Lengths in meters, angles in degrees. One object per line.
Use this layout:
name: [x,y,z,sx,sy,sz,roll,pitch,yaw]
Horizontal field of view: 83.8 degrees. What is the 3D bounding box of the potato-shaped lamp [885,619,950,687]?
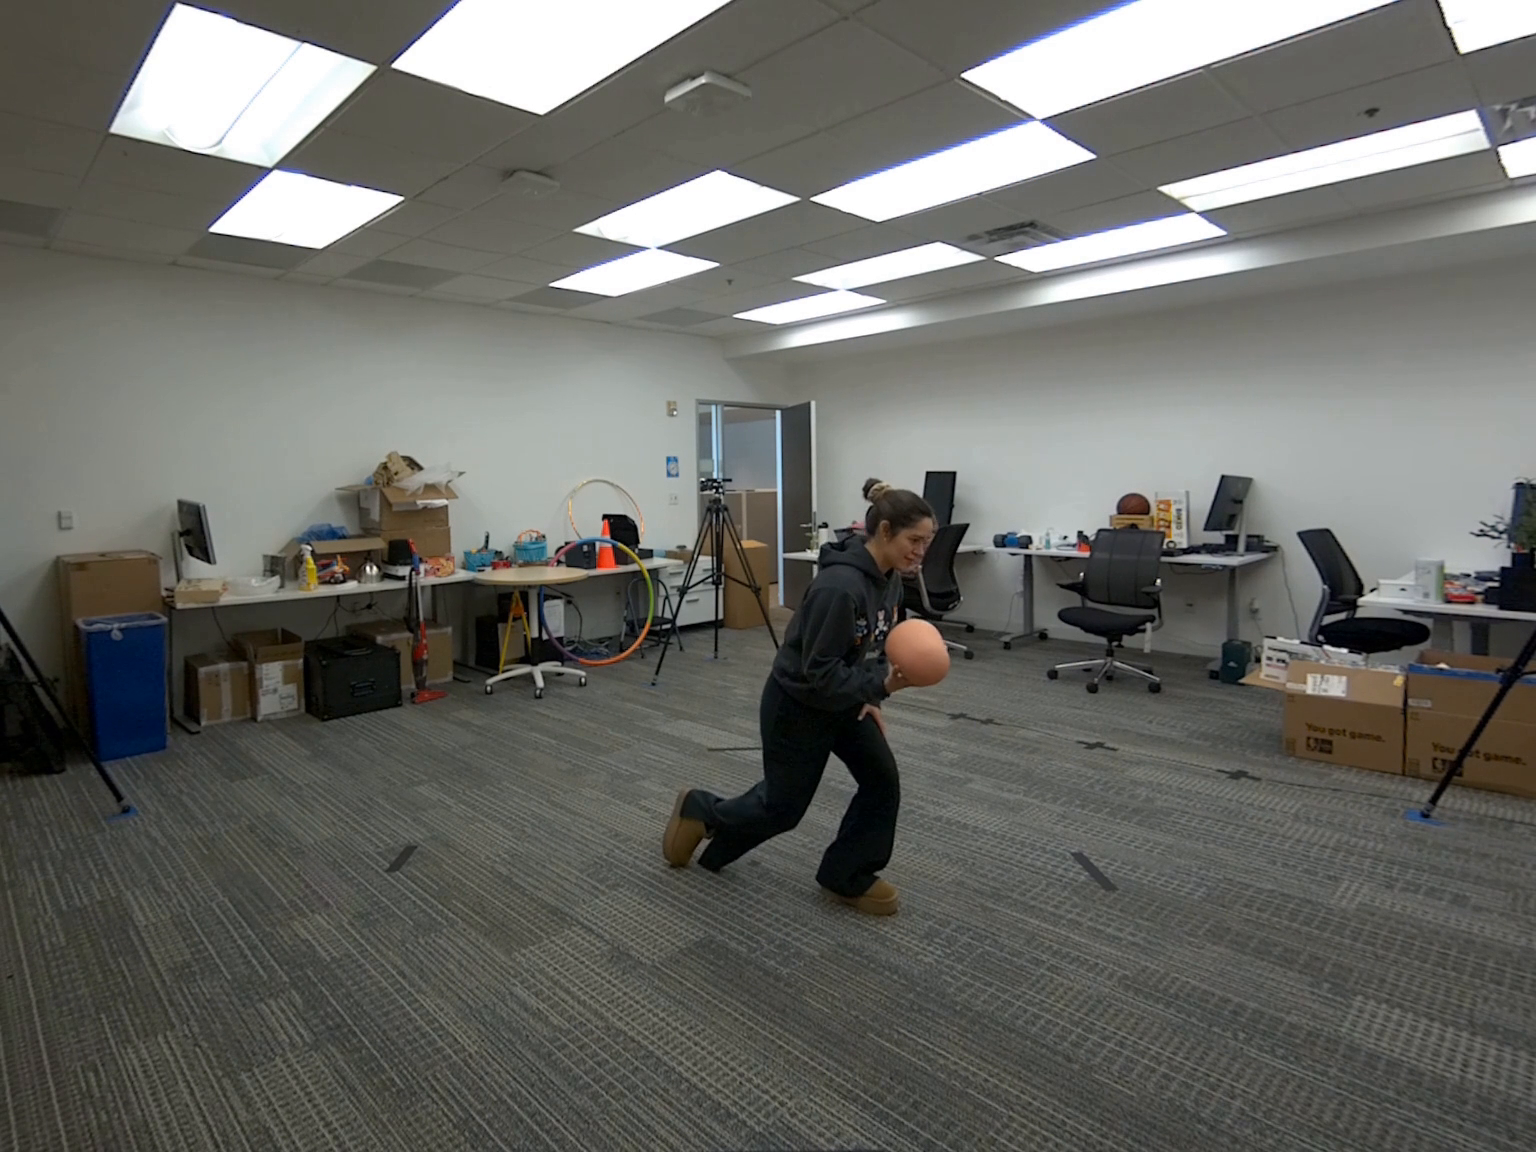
potato-shaped lamp: [0.446,0.233,2.445,0.165,0.165,0.205,36,13,-37]
